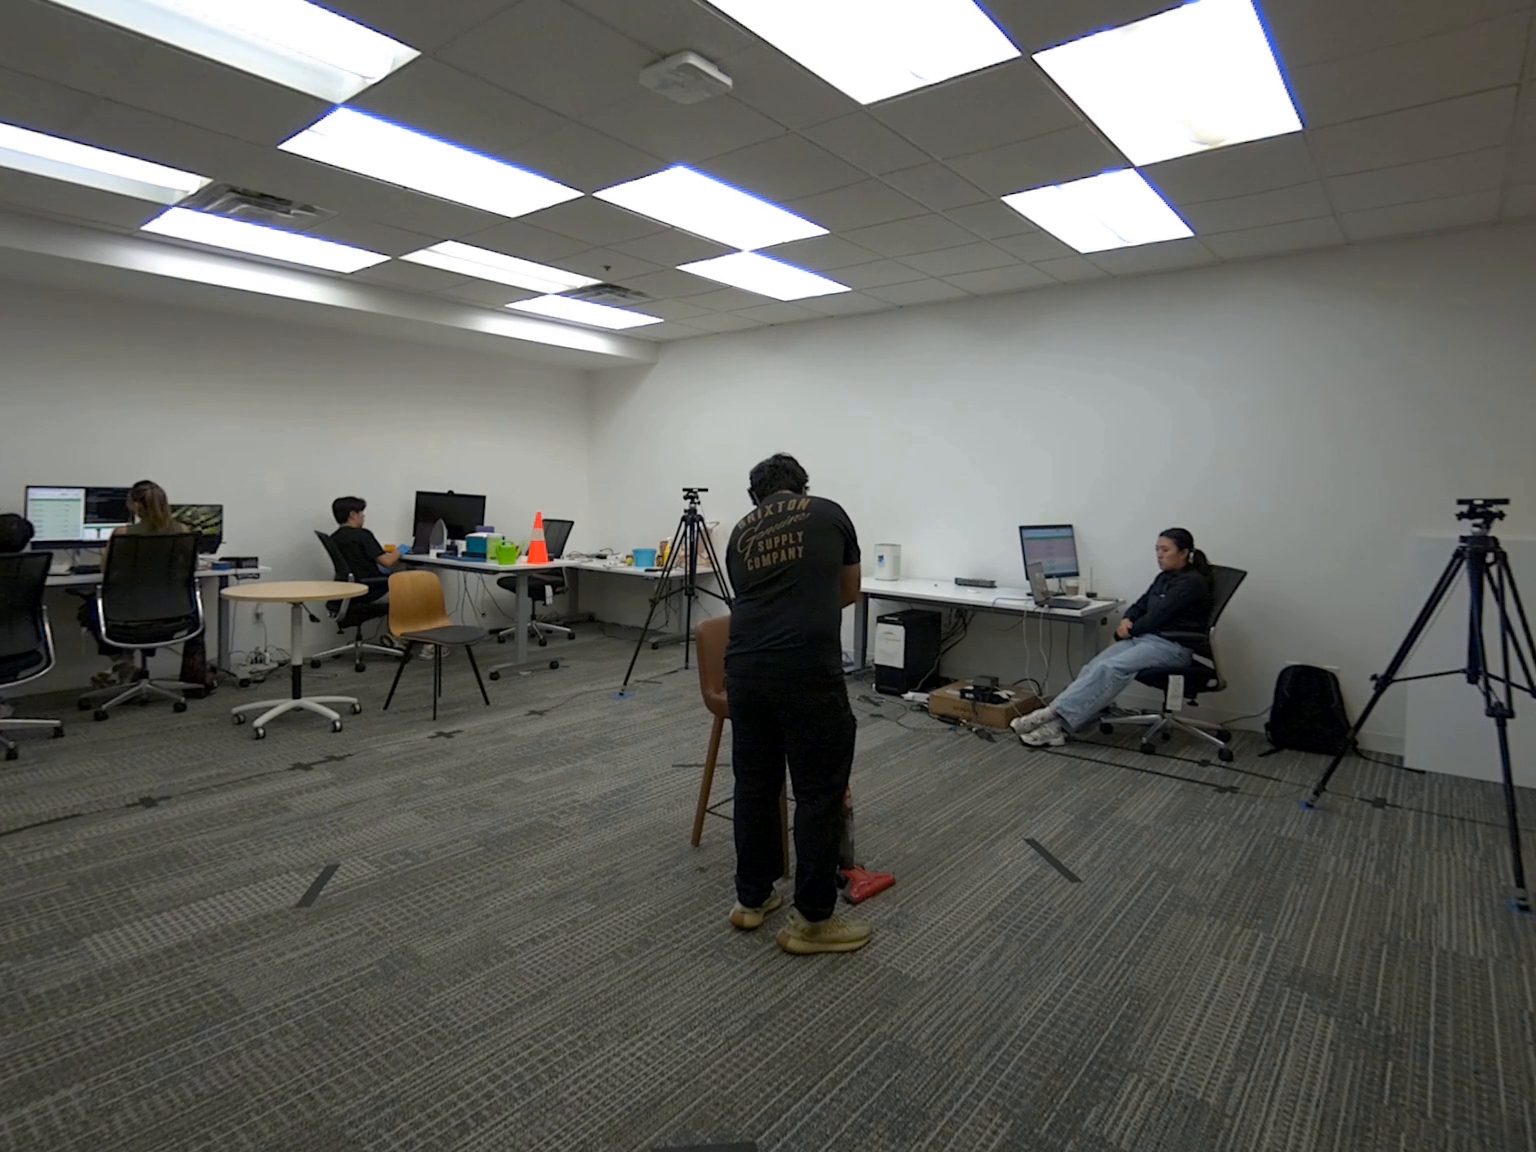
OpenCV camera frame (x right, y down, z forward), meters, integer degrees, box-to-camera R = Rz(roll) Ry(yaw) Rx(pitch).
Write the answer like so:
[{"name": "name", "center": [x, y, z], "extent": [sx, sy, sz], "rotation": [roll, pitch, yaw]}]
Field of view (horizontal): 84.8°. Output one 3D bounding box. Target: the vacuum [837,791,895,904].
[{"name": "vacuum", "center": [0.204, 0.591, 3.105], "extent": [0.245, 1.064, 0.146], "rotation": [-4, -15, -42]}]
